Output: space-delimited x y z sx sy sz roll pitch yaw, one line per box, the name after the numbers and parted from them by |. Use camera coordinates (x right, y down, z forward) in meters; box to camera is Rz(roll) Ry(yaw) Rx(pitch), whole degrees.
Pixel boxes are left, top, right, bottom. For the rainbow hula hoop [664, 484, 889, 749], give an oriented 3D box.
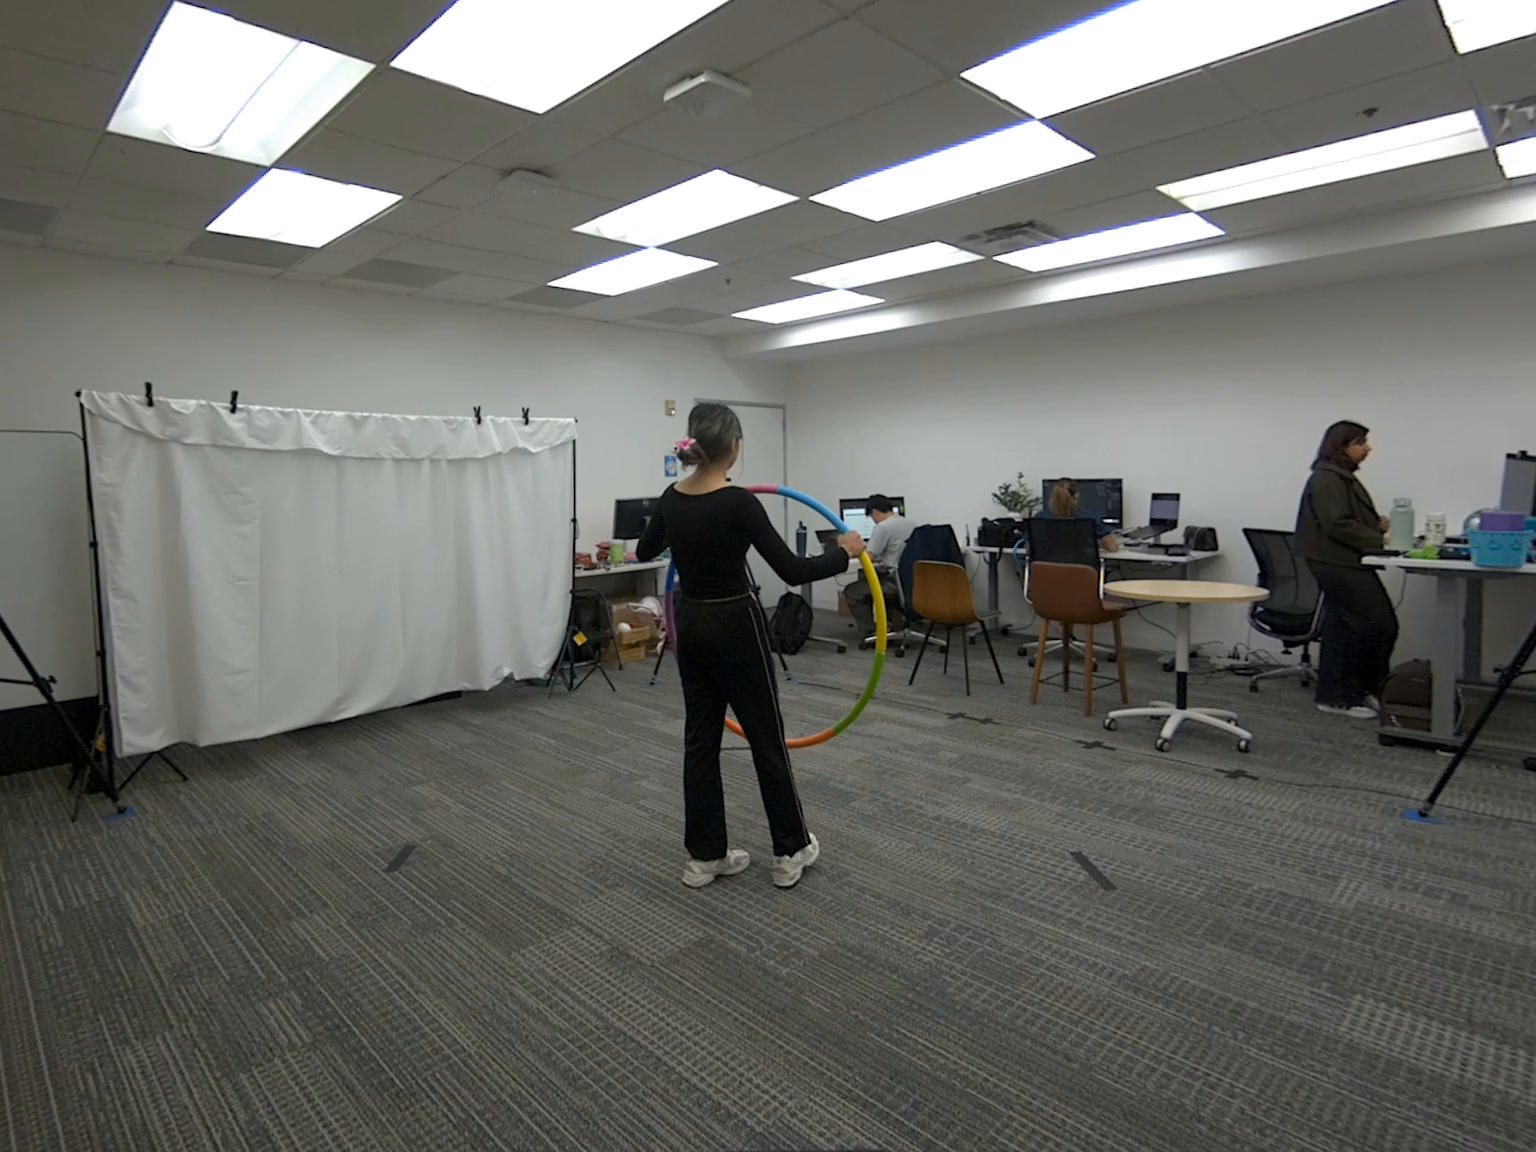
-0.008 0.160 3.191 1.007 0.973 0.035 2 7 35 | rainbow hula hoop
